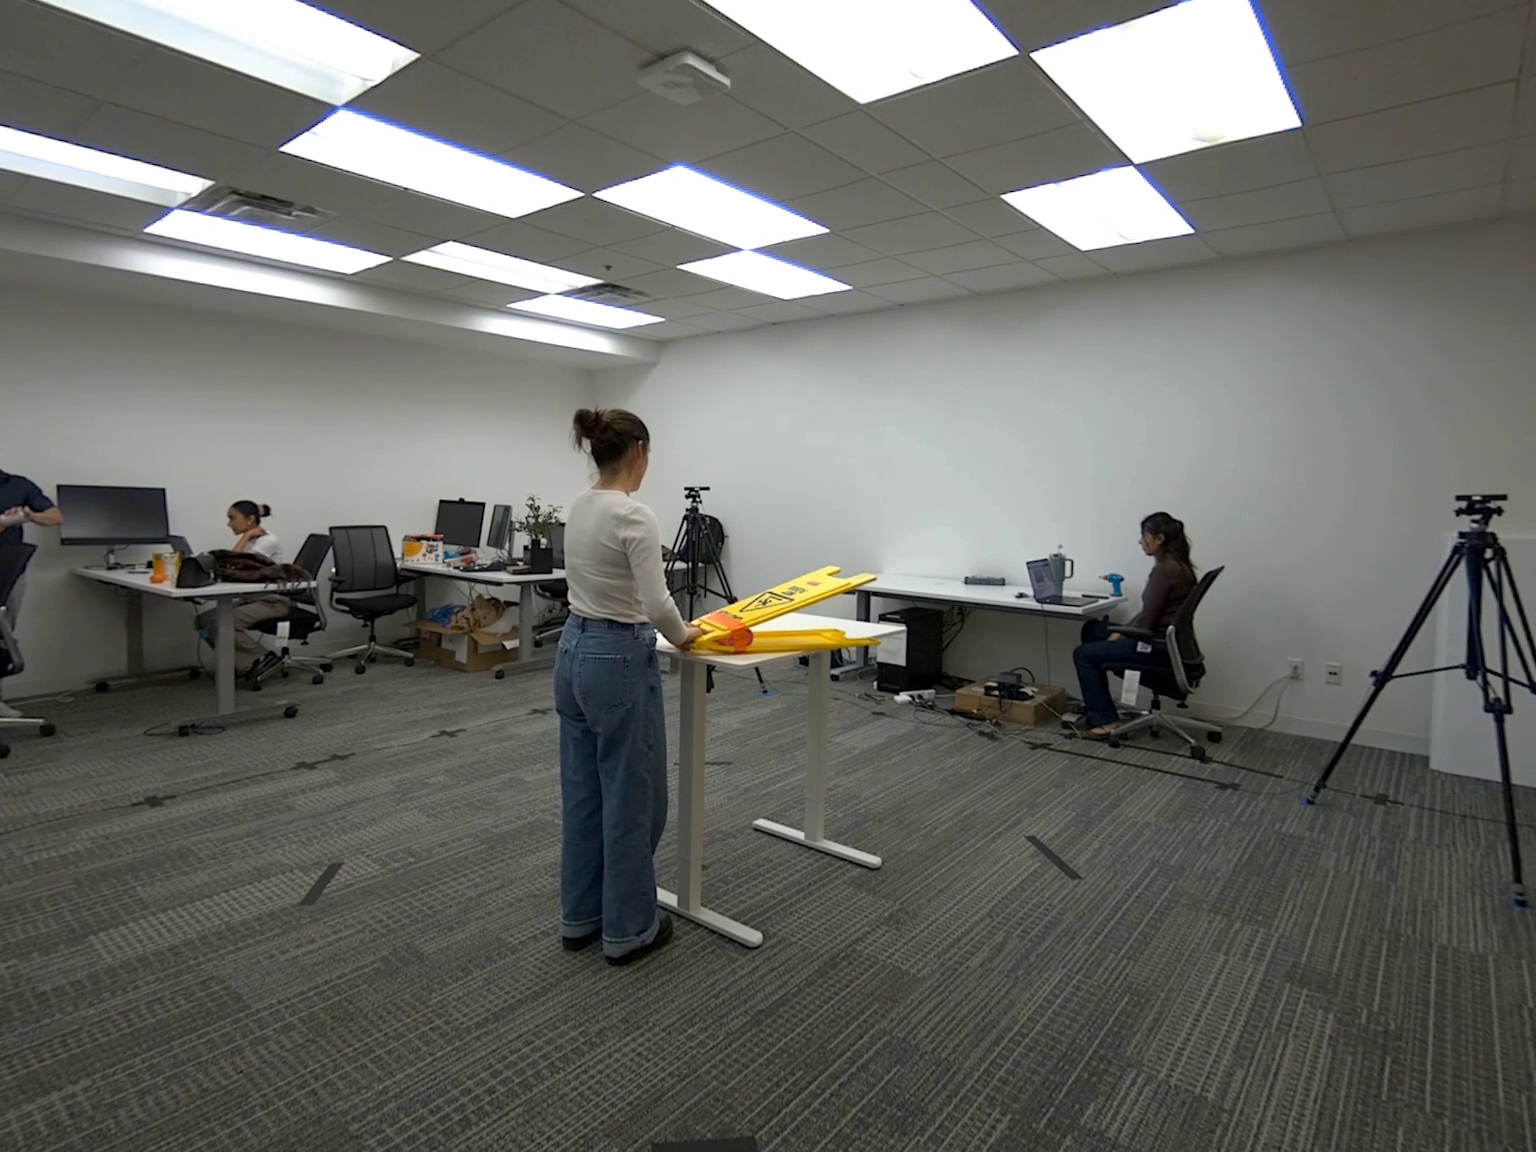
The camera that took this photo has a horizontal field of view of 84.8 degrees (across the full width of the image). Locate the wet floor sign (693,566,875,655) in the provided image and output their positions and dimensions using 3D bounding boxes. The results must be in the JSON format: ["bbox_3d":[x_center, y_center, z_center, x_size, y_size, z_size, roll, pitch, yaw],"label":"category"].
[{"bbox_3d":[-0.003,0.156,2.762,0.633,0.287,0.291,-10,10,-25],"label":"wet floor sign"}]
